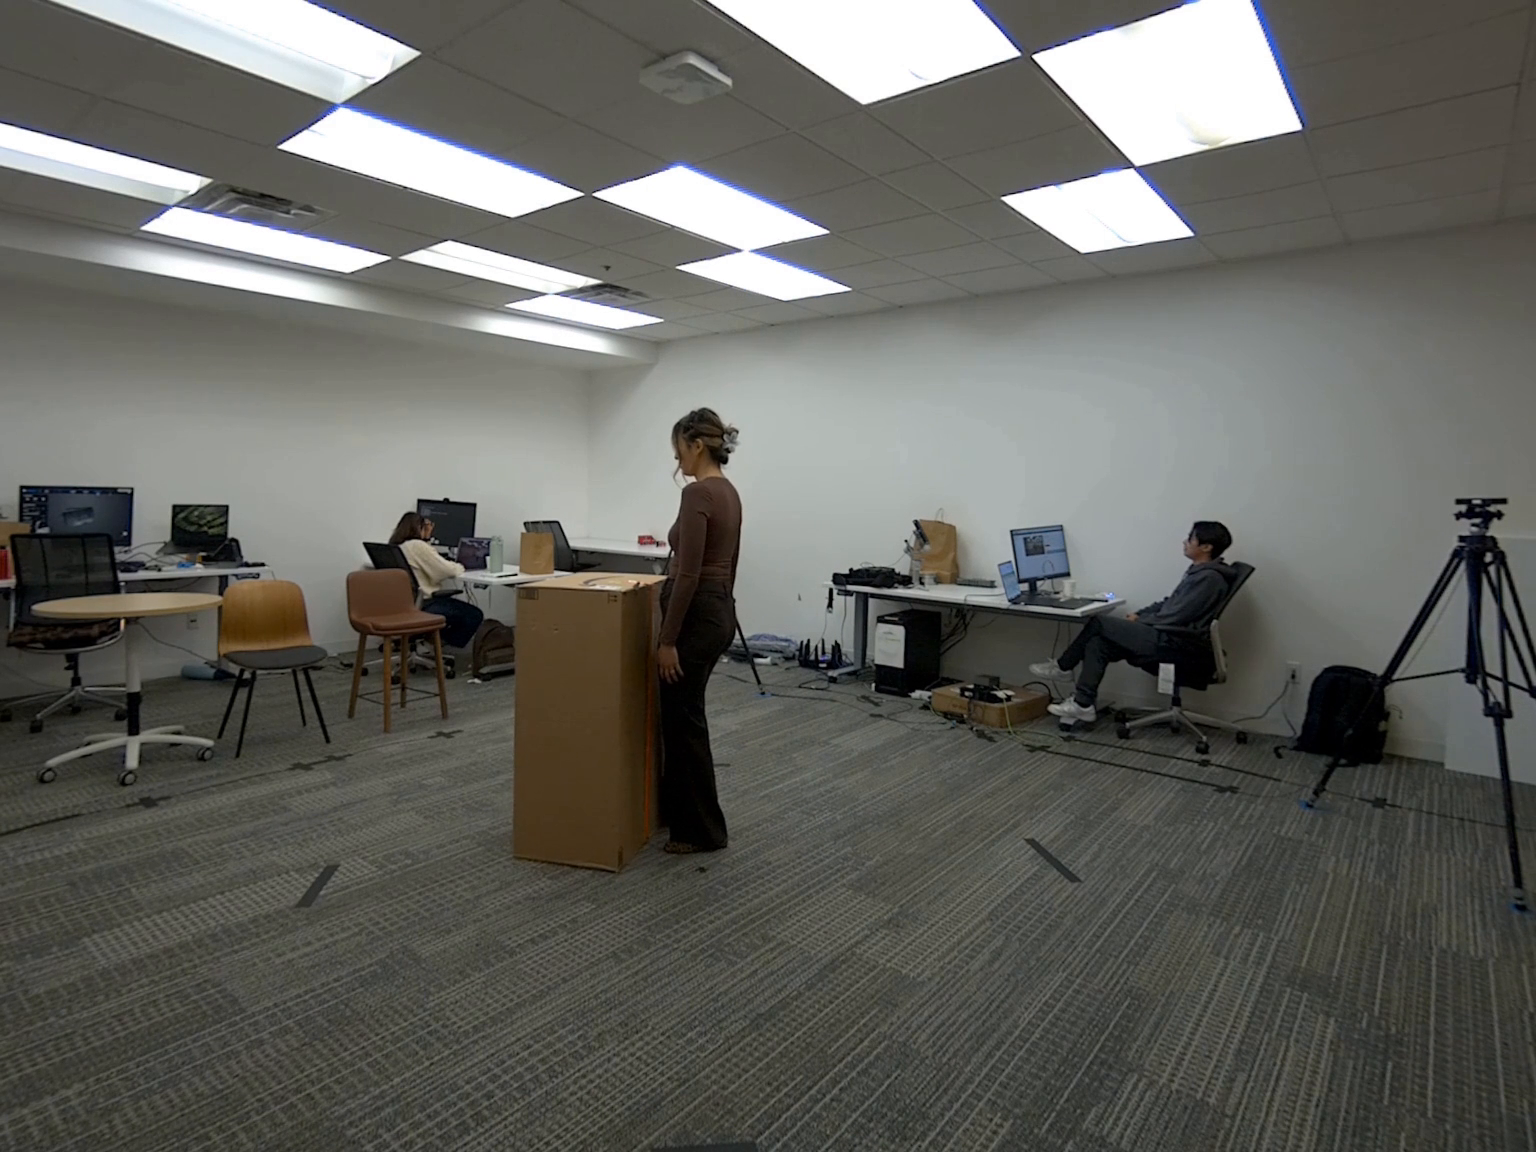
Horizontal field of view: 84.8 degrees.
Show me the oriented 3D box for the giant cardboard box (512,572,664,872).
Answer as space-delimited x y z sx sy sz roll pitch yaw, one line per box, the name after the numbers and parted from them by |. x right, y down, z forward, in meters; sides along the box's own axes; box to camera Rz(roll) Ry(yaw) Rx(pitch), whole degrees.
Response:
-0.697 0.524 3.366 0.454 1.024 0.576 2 3 13 | giant cardboard box
